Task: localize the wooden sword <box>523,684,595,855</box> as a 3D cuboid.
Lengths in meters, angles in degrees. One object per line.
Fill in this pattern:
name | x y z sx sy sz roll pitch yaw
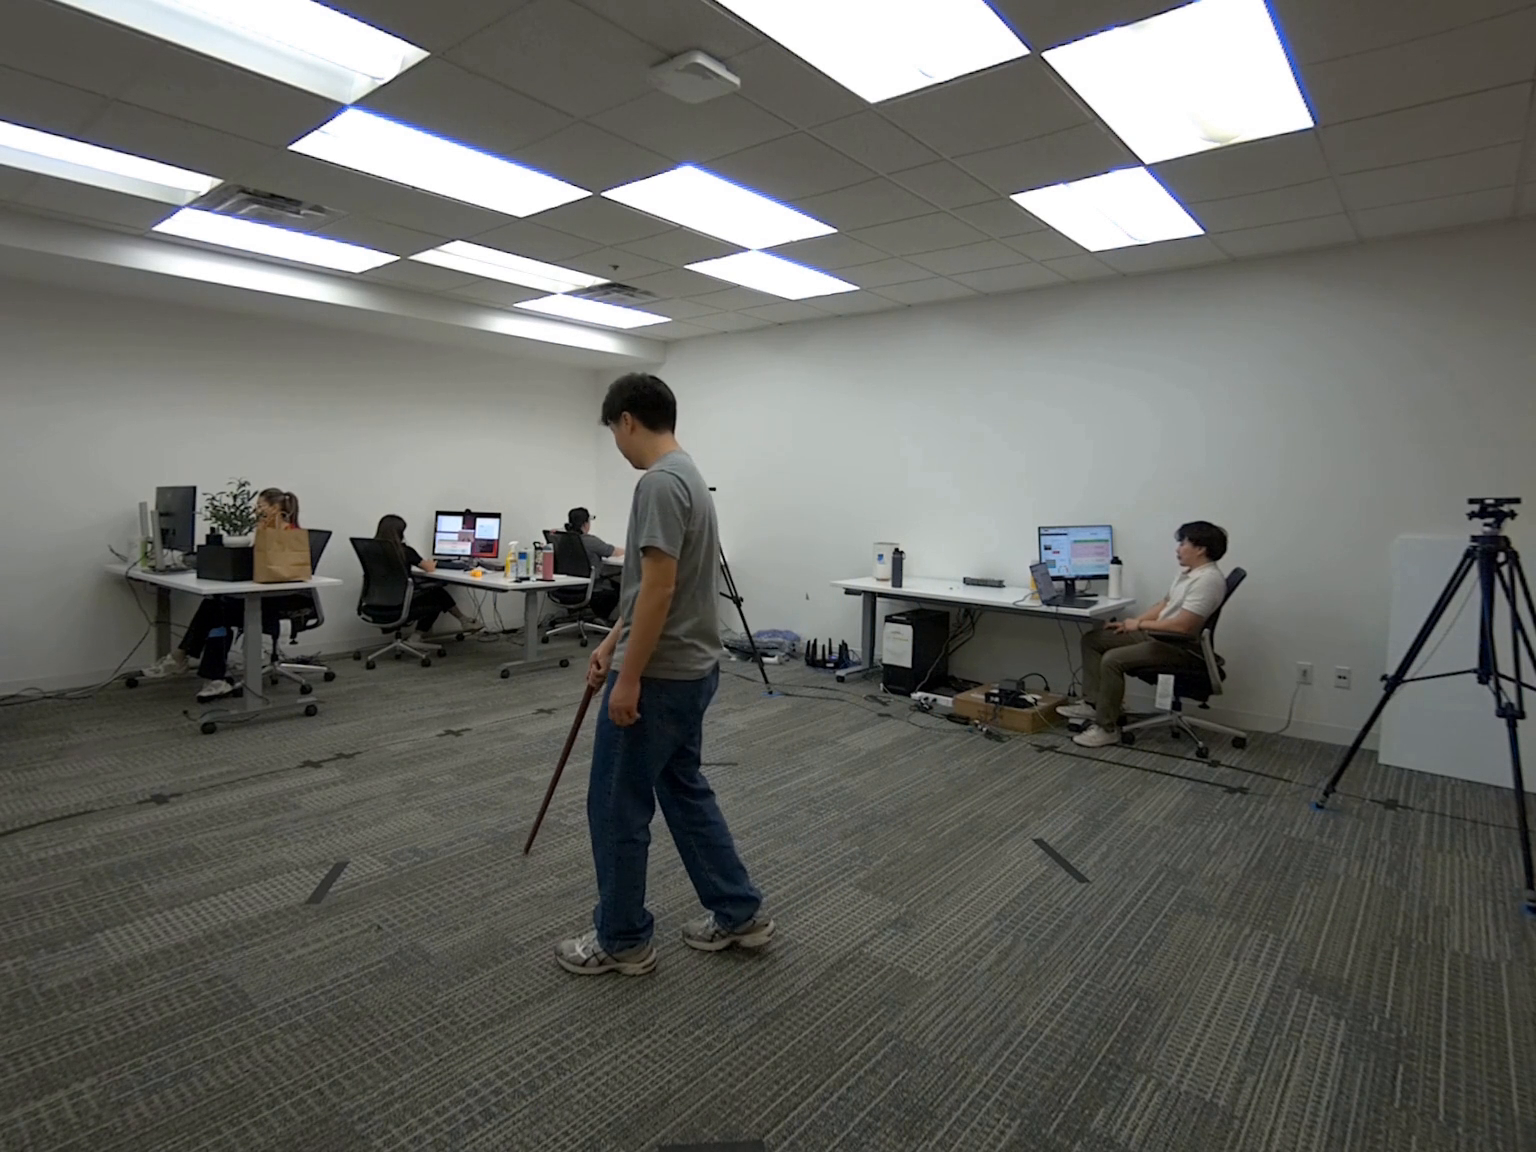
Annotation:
wooden sword | -0.735 0.669 2.942 0.050 1.013 0.025 18 34 -13
